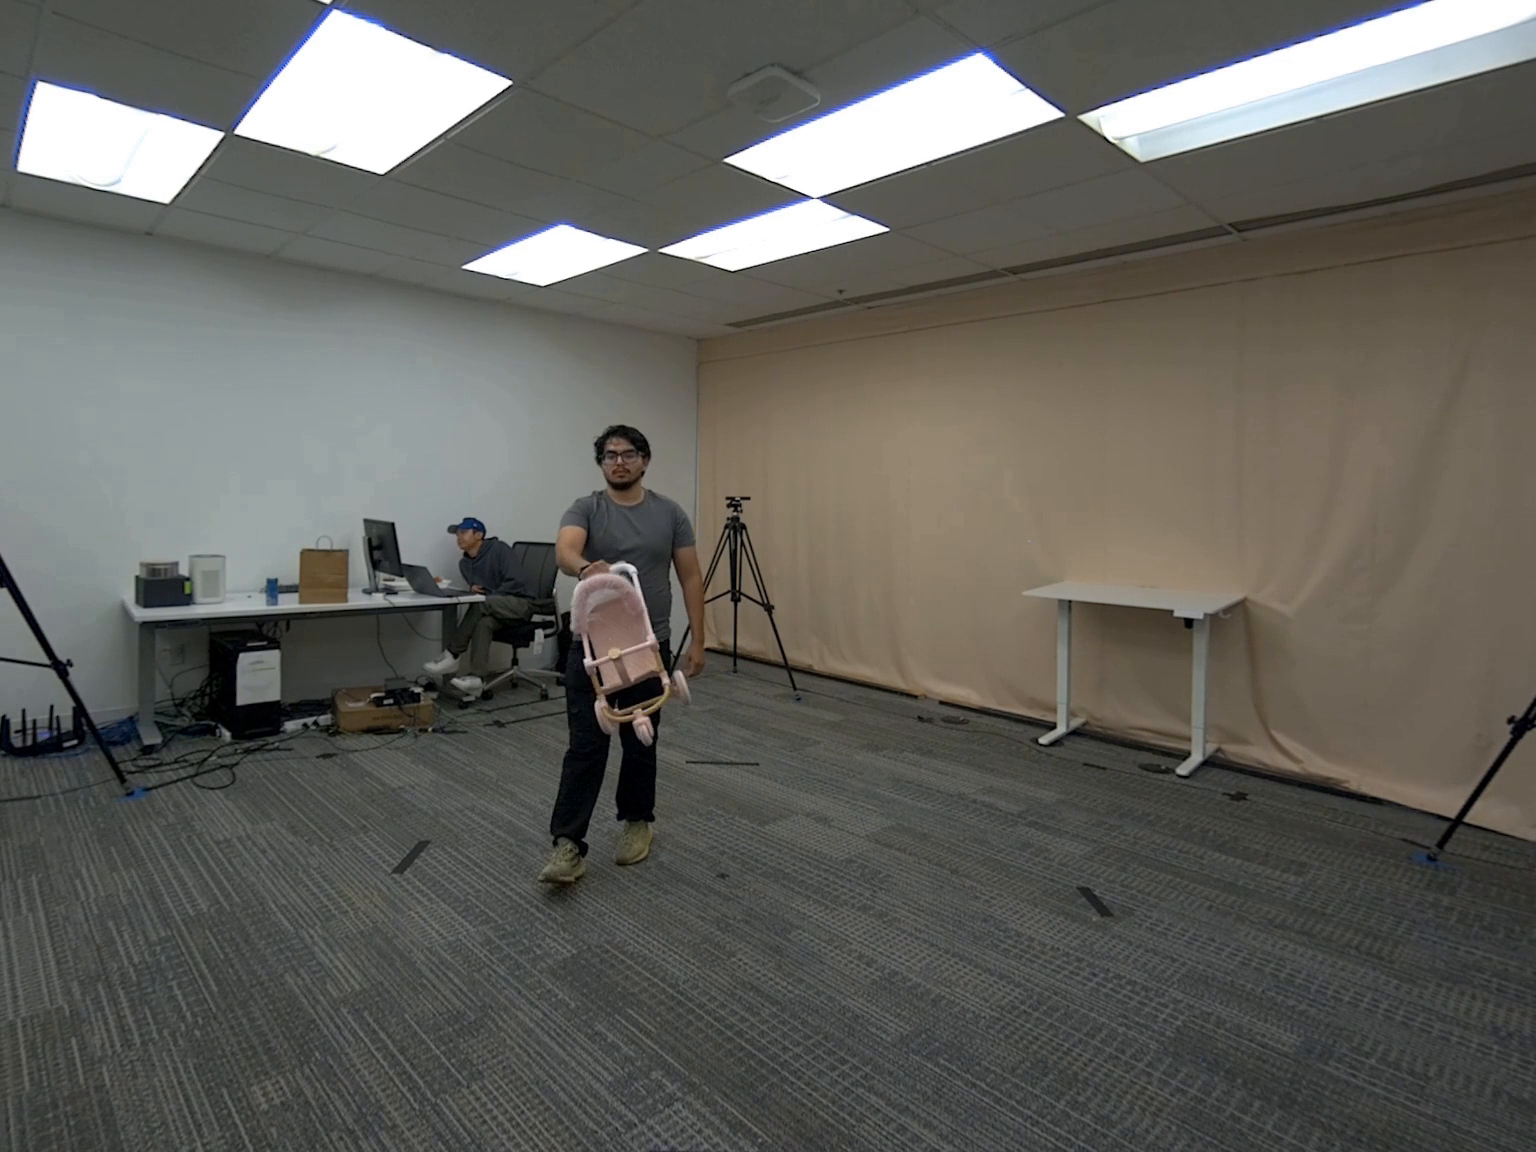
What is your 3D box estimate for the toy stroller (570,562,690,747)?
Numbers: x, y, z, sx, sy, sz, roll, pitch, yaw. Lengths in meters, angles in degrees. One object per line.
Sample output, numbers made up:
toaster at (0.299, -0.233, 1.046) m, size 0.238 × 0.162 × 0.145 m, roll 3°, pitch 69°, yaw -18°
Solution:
toy stroller at (-0.435, 0.228, 2.445) m, size 0.281 × 0.538 × 0.339 m, roll -18°, pitch -6°, yaw -1°
